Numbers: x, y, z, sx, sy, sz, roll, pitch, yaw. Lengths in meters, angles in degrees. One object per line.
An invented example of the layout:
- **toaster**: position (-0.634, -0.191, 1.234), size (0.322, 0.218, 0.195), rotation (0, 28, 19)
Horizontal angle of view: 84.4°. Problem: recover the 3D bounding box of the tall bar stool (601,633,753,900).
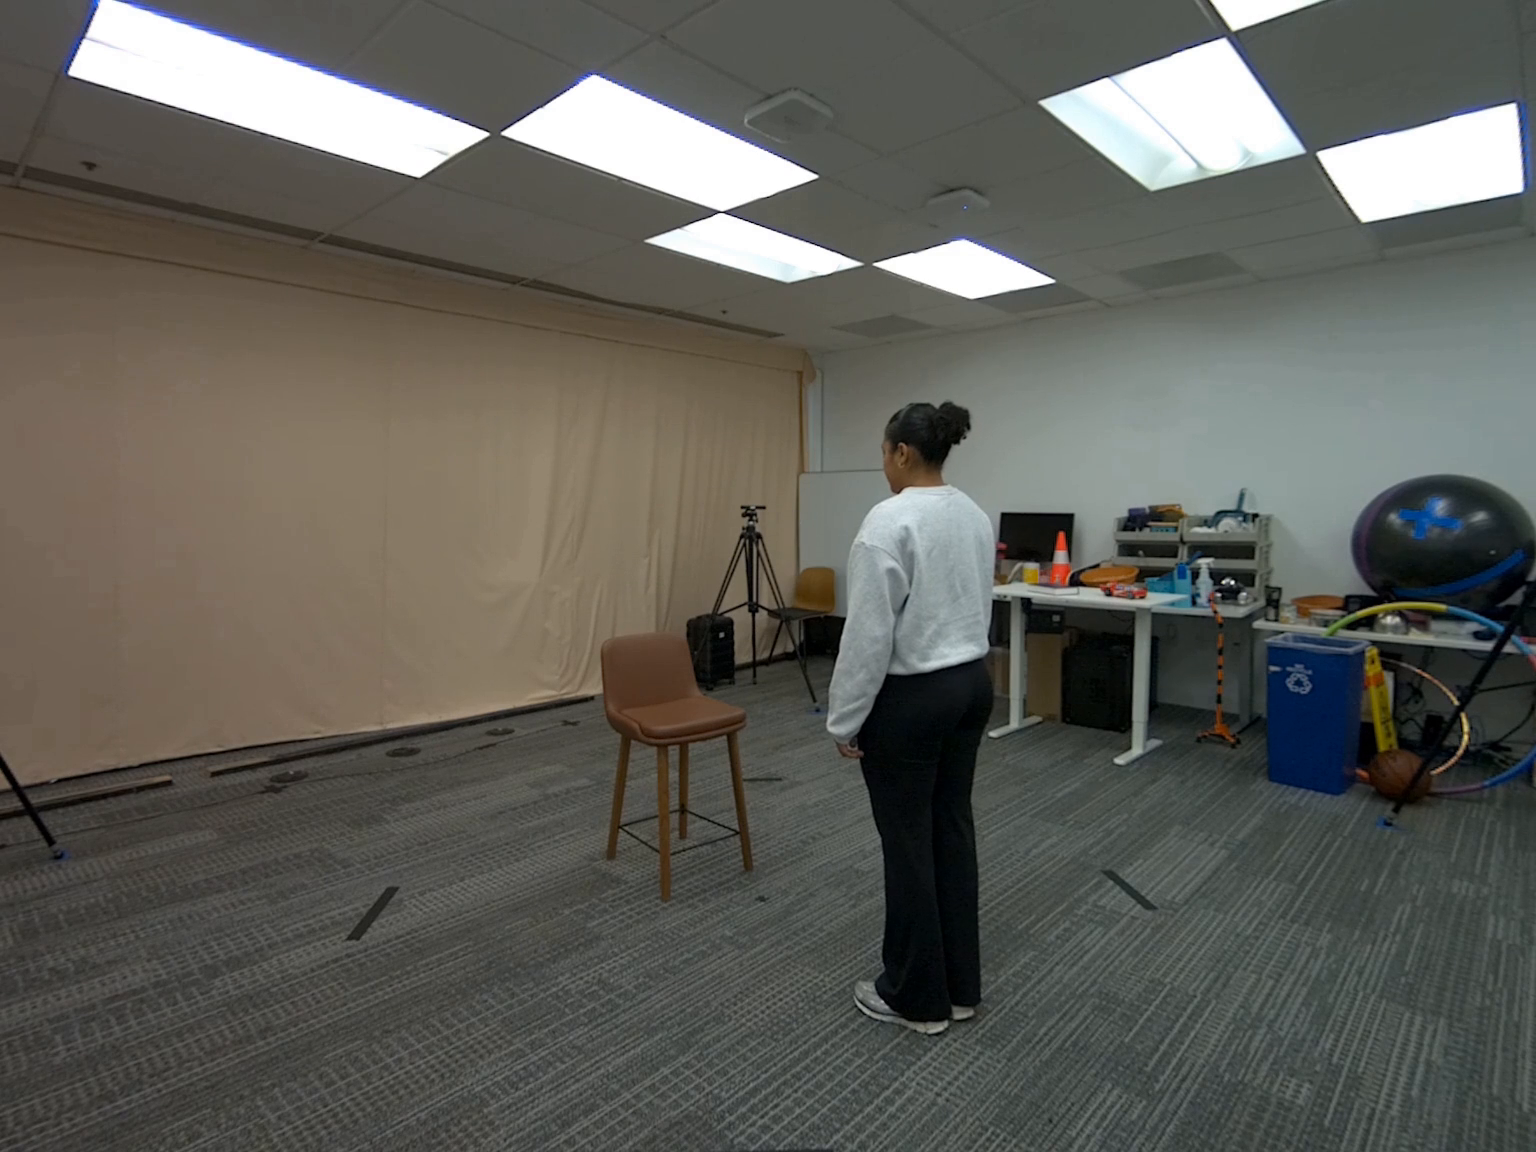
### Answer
- **tall bar stool**: position (-0.363, 0.690, 3.251), size (0.443, 0.889, 0.482), rotation (-3, 2, -39)
